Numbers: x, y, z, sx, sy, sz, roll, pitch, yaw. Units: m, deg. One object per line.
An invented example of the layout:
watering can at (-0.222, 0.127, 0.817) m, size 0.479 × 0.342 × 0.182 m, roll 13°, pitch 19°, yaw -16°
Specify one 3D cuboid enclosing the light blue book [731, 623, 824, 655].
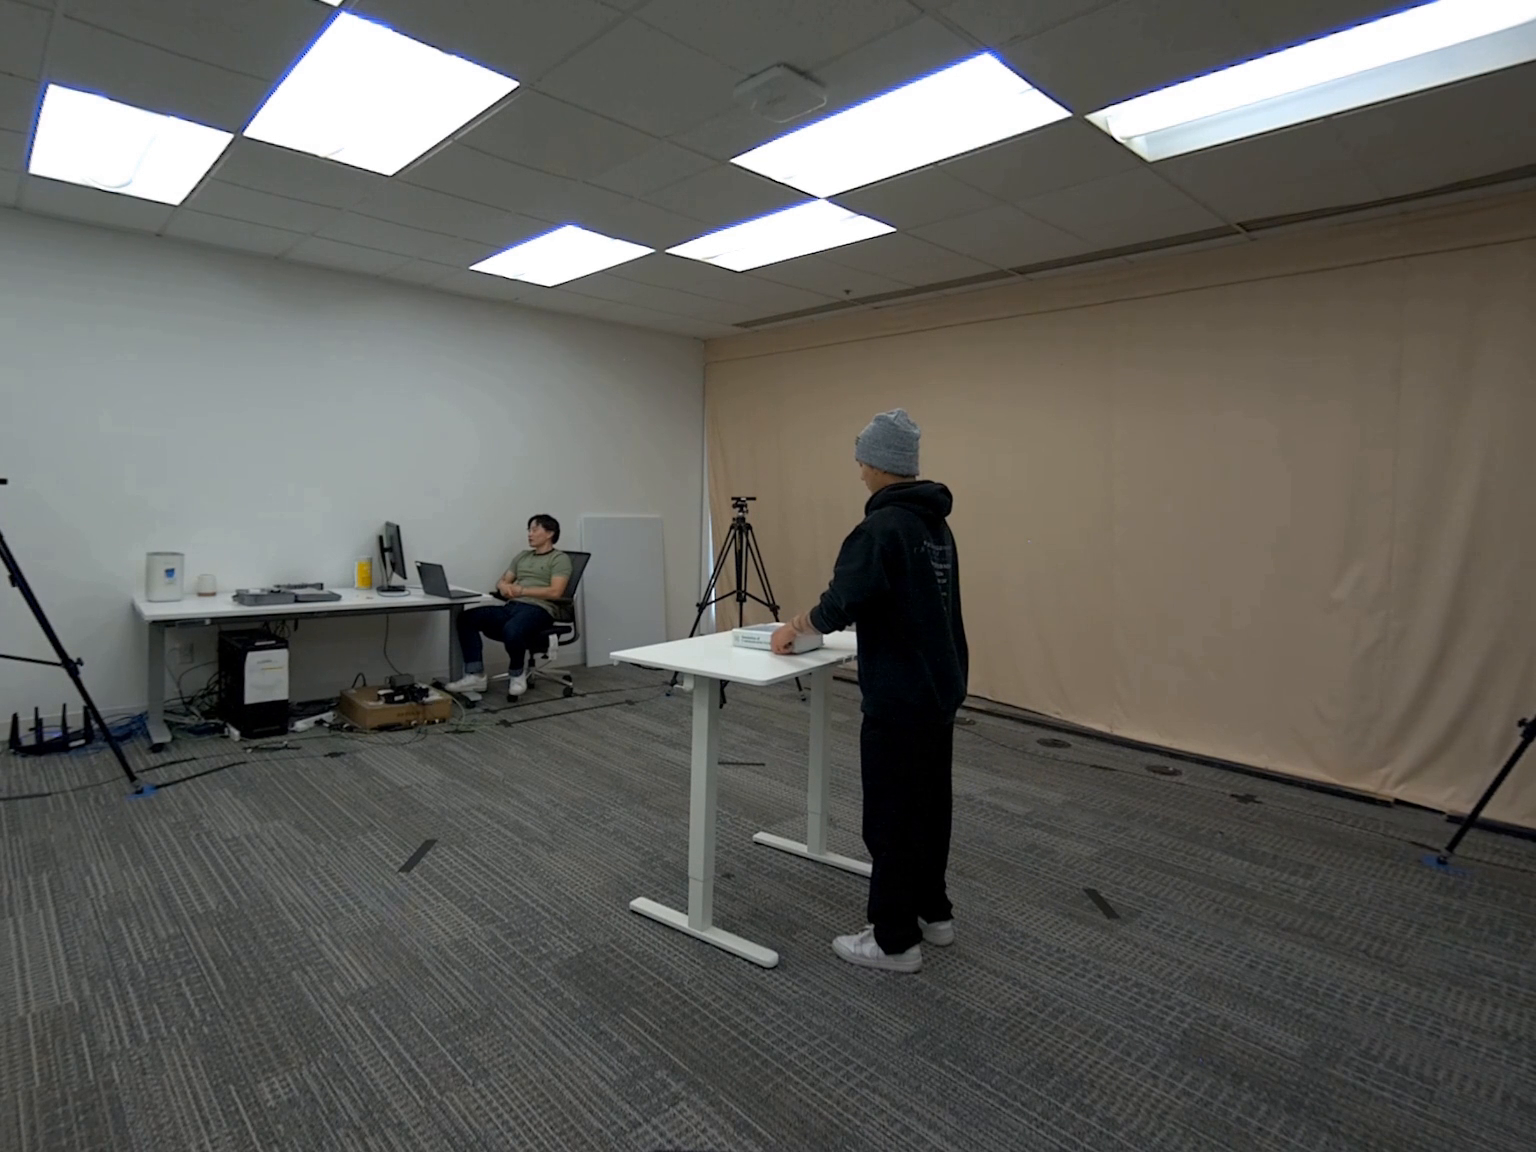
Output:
light blue book at (0.034, 0.221, 2.916) m, size 0.267 × 0.059 × 0.187 m, roll 4°, pitch 7°, yaw 34°
